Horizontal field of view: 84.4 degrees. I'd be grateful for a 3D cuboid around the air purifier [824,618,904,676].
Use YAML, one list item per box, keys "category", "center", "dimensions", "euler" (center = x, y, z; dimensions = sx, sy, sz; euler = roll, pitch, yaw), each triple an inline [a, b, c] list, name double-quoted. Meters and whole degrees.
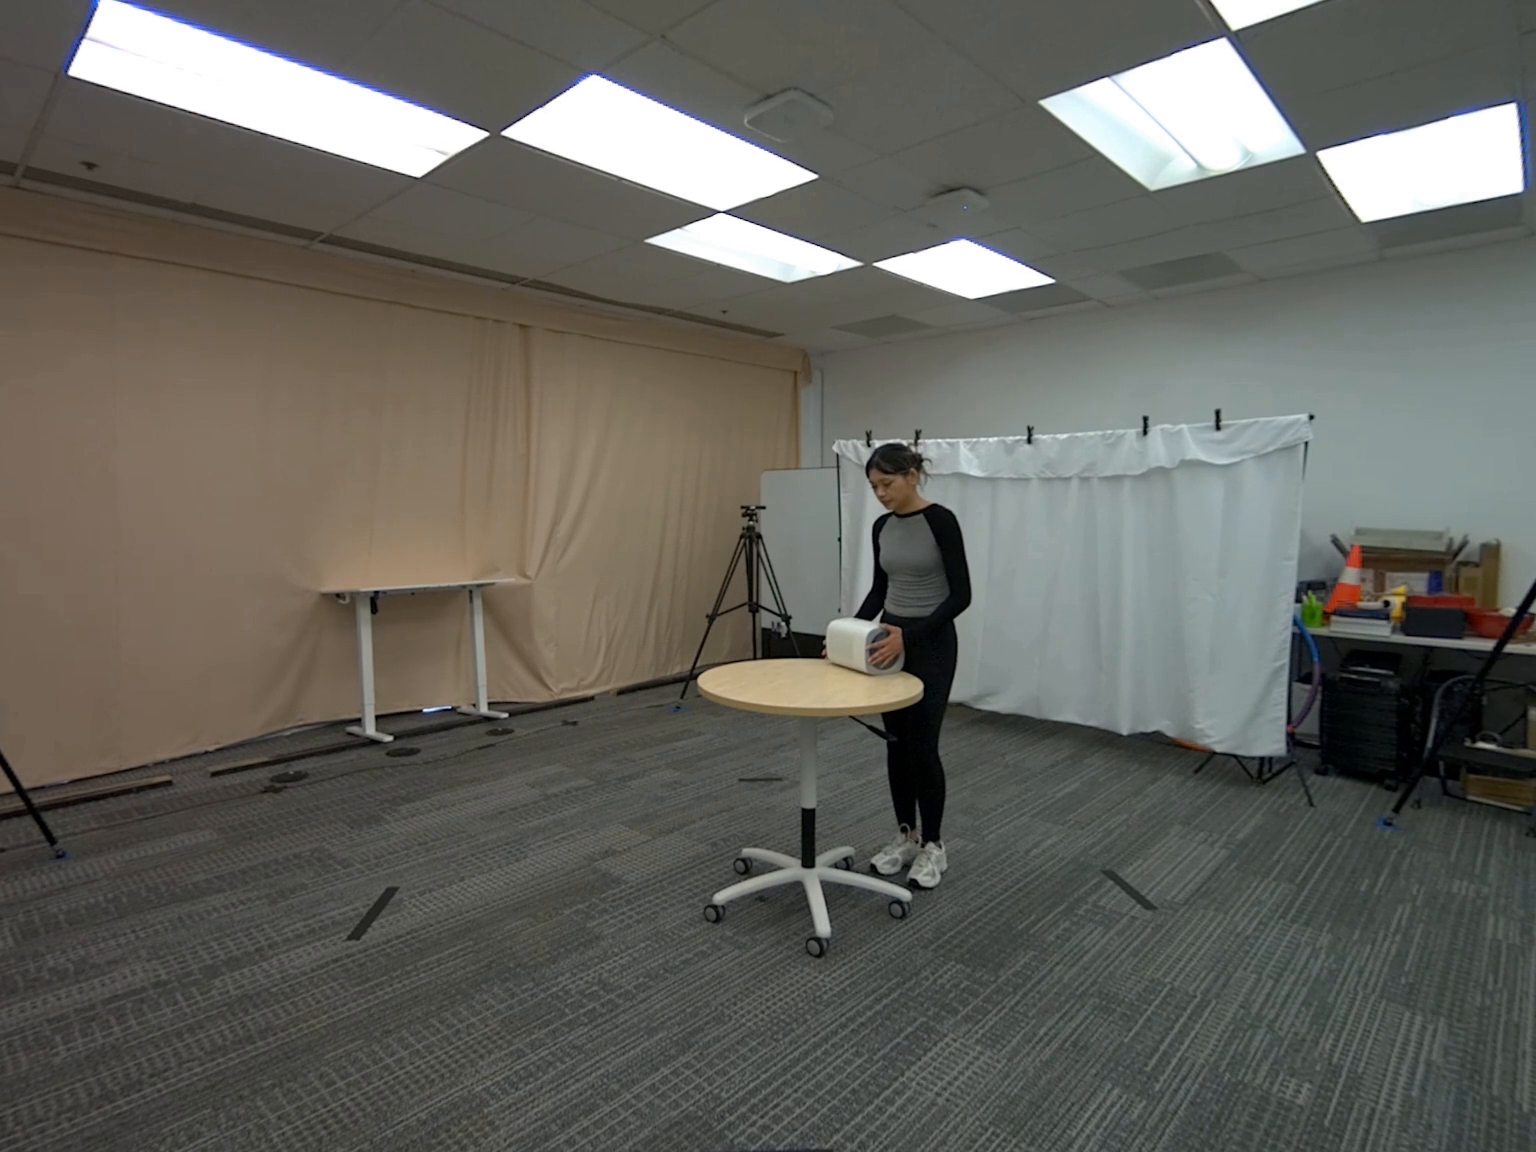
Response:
- category: "air purifier"
  center: [0.354, 0.255, 3.084]
  dimensions: [0.167, 0.171, 0.273]
  euler: [-2, 5, -29]
